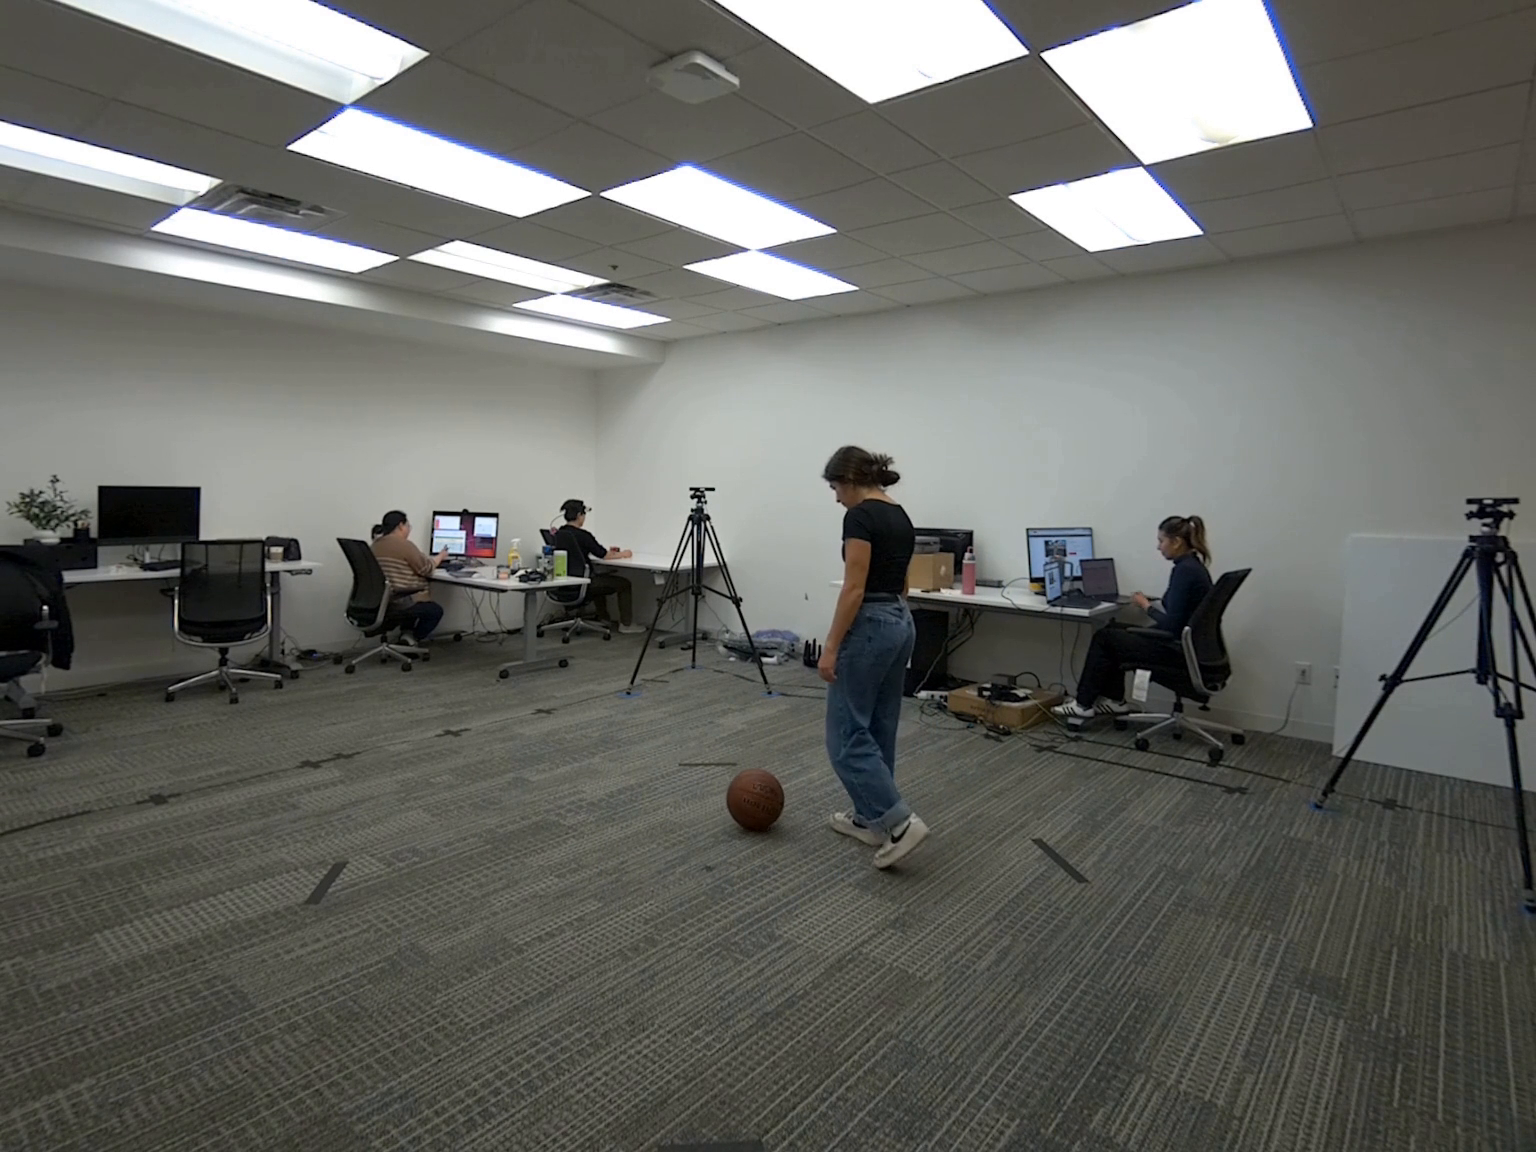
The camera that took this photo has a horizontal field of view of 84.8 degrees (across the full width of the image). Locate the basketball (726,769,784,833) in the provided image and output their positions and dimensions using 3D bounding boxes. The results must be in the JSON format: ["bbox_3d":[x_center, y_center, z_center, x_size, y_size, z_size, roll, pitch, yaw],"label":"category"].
[{"bbox_3d":[-0.062,0.909,3.493,0.235,0.235,0.237,1,4,-2],"label":"basketball"}]
